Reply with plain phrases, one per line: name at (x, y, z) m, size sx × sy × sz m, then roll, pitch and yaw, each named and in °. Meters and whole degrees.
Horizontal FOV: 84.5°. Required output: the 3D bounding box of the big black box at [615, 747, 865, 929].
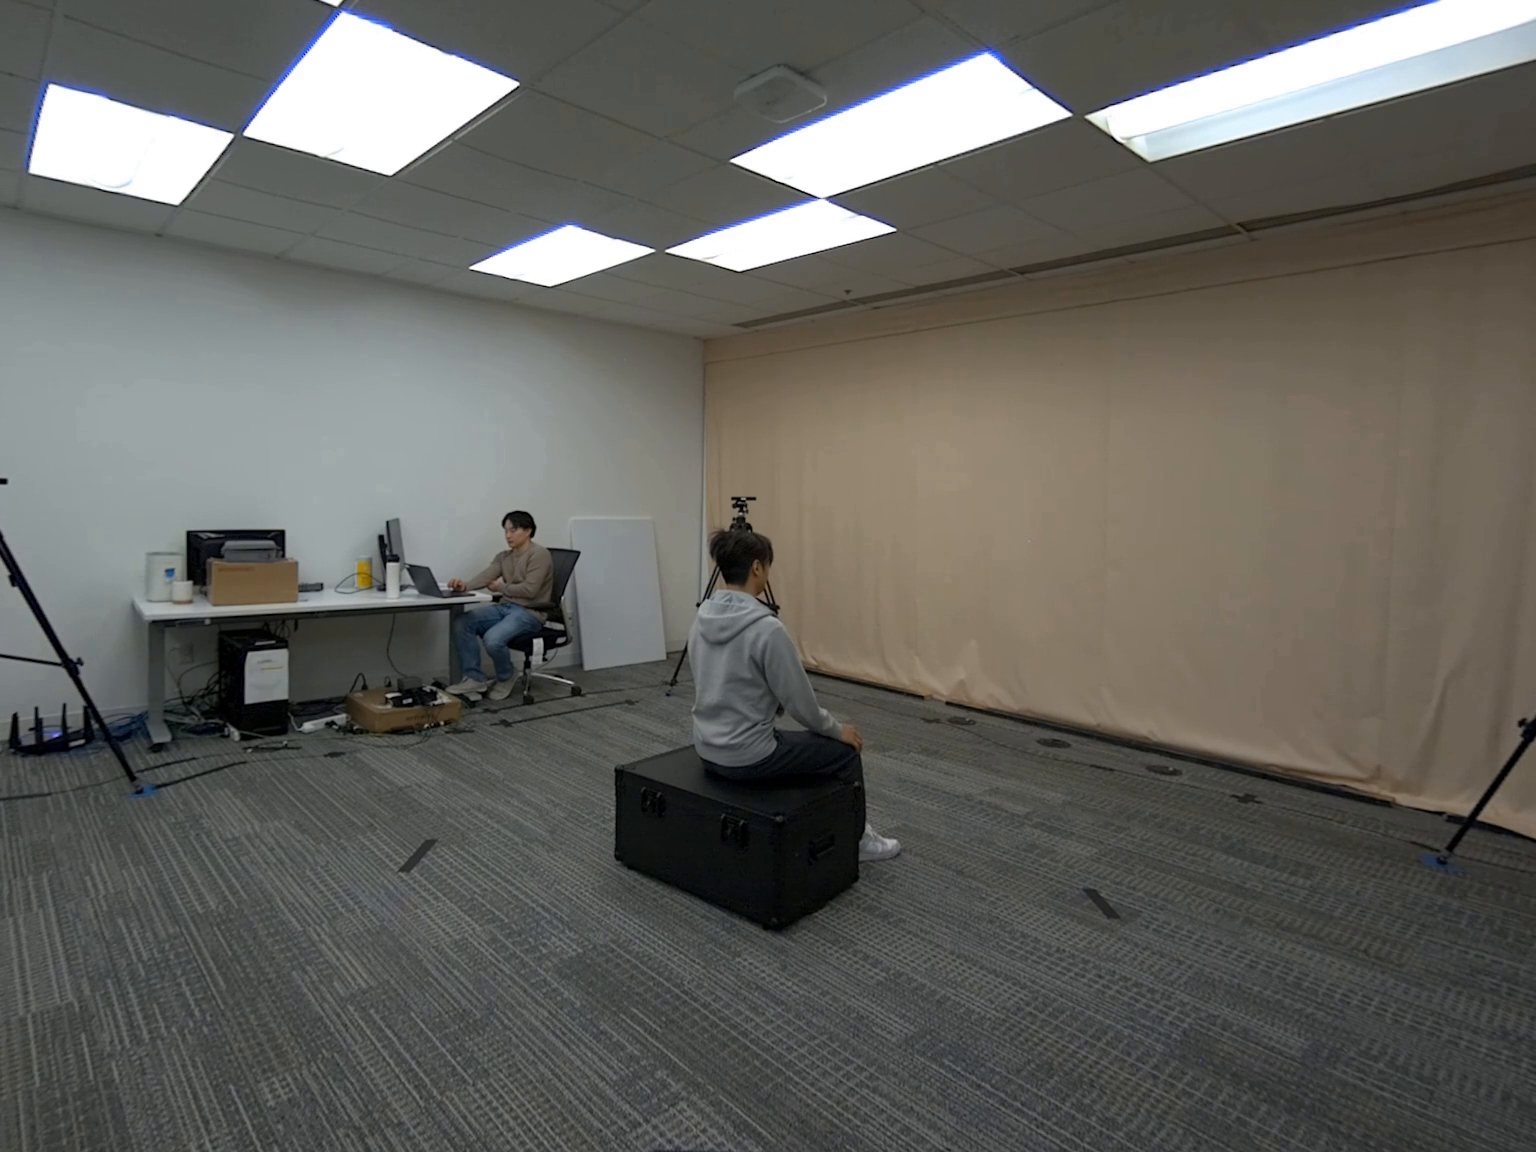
big black box at (-0.110, 0.927, 3.070) m, size 0.883 × 0.395 × 0.510 m, roll 5°, pitch 6°, yaw 40°
